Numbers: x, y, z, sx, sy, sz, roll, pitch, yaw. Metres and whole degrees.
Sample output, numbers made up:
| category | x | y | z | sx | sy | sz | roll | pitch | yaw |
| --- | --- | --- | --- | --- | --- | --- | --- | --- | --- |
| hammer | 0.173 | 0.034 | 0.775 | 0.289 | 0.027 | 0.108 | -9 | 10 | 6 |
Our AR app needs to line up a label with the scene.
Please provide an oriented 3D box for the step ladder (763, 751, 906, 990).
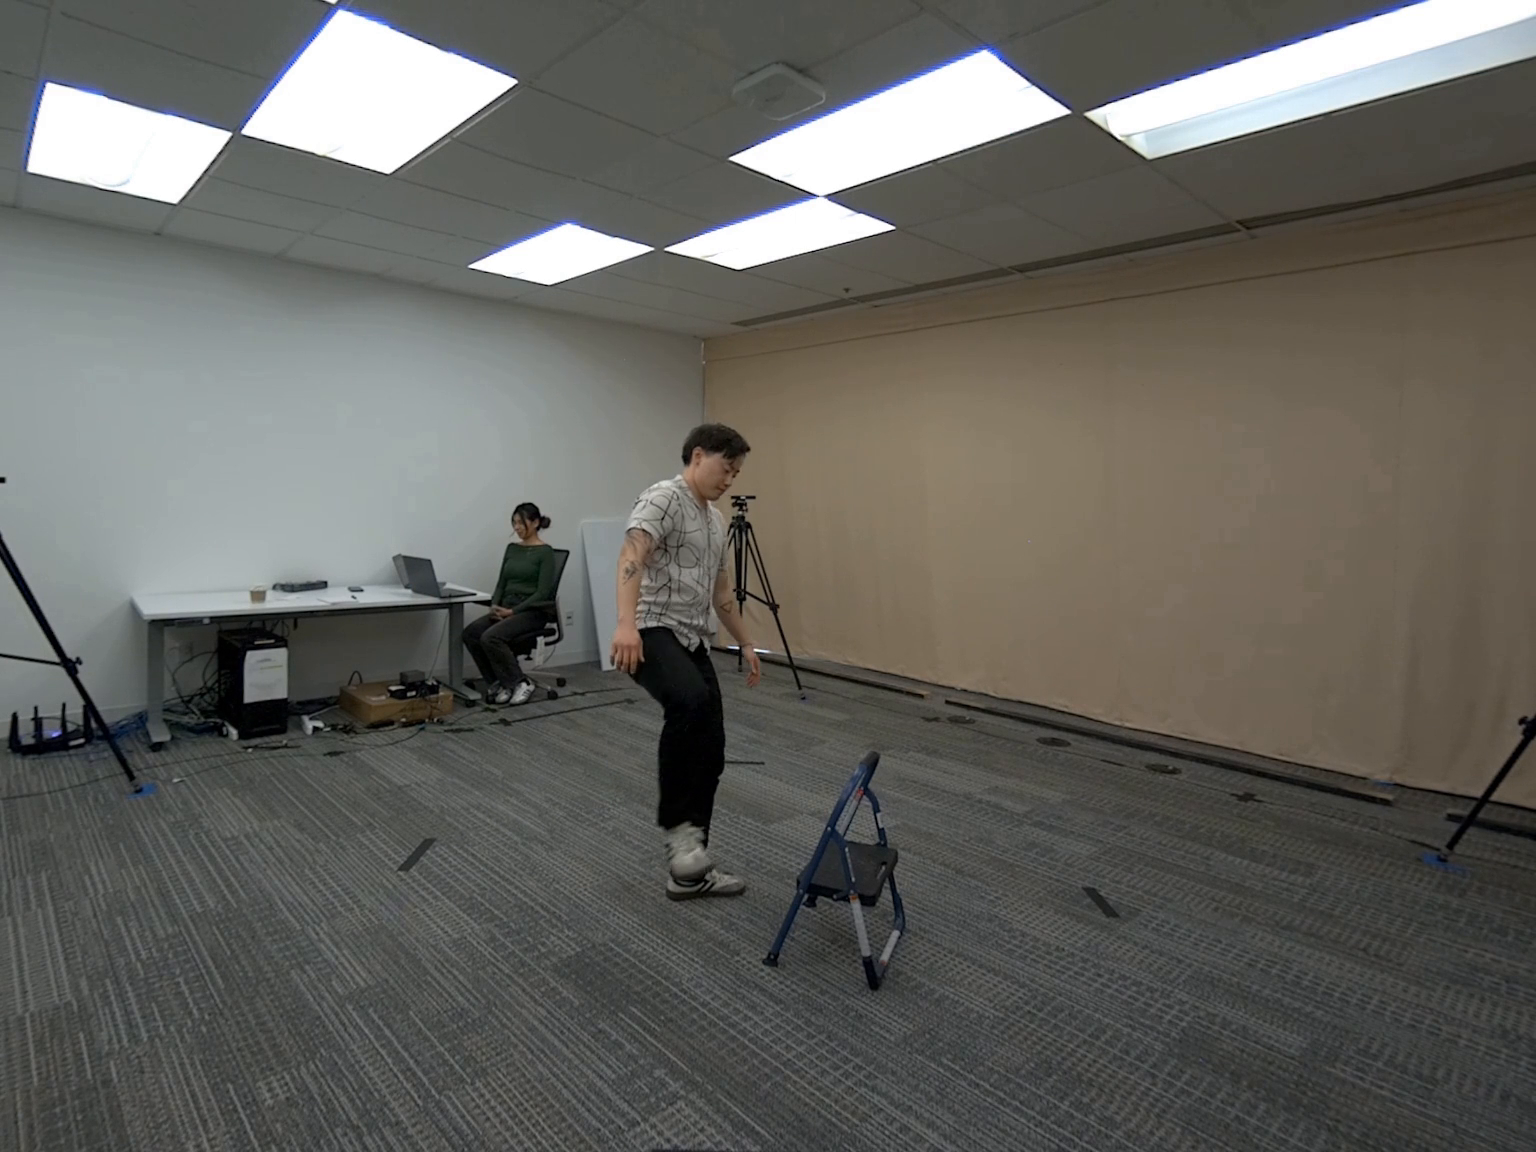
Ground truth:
| category | x | y | z | sx | sy | sz | roll | pitch | yaw |
| --- | --- | --- | --- | --- | --- | --- | --- | --- | --- |
| step ladder | 0.226 | 0.852 | 2.617 | 0.355 | 0.604 | 0.425 | 3 | 5 | 21 |
